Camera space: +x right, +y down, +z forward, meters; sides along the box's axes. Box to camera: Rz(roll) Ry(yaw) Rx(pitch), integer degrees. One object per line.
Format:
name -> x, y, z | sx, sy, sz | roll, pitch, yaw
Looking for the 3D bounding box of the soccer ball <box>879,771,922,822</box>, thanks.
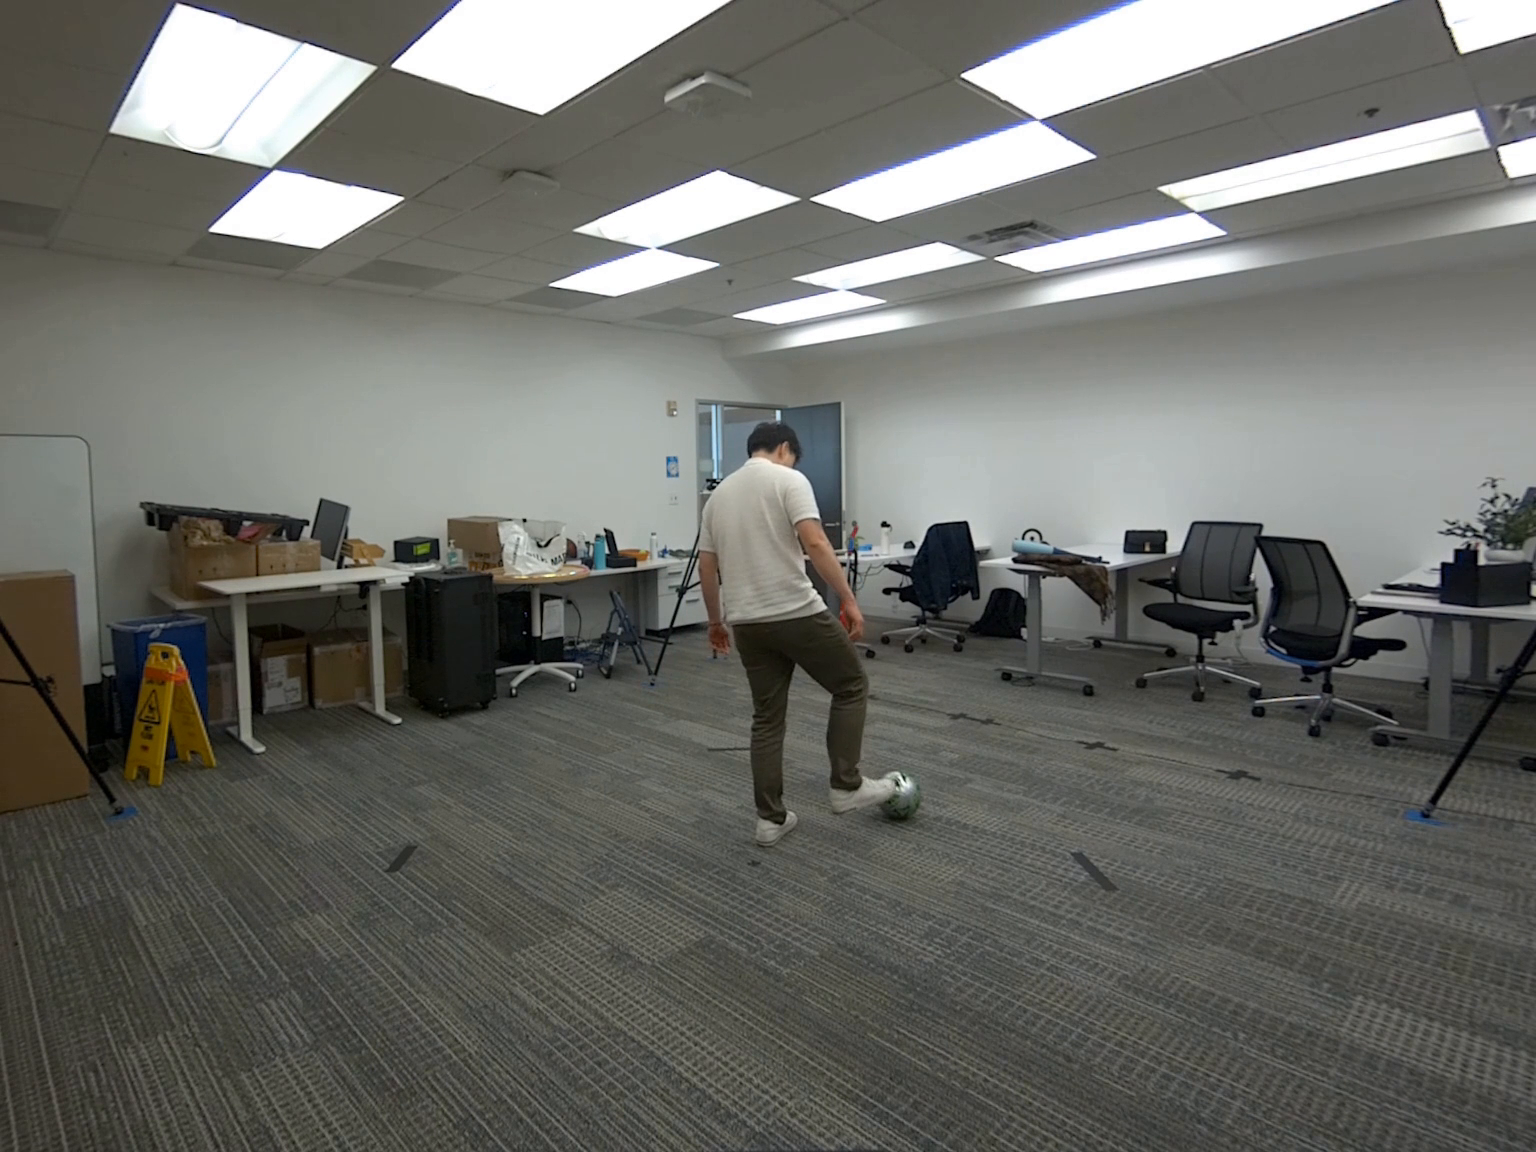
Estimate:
soccer ball -> 0.539, 0.900, 3.510 | 0.187, 0.187, 0.188 | -1, 5, -2
